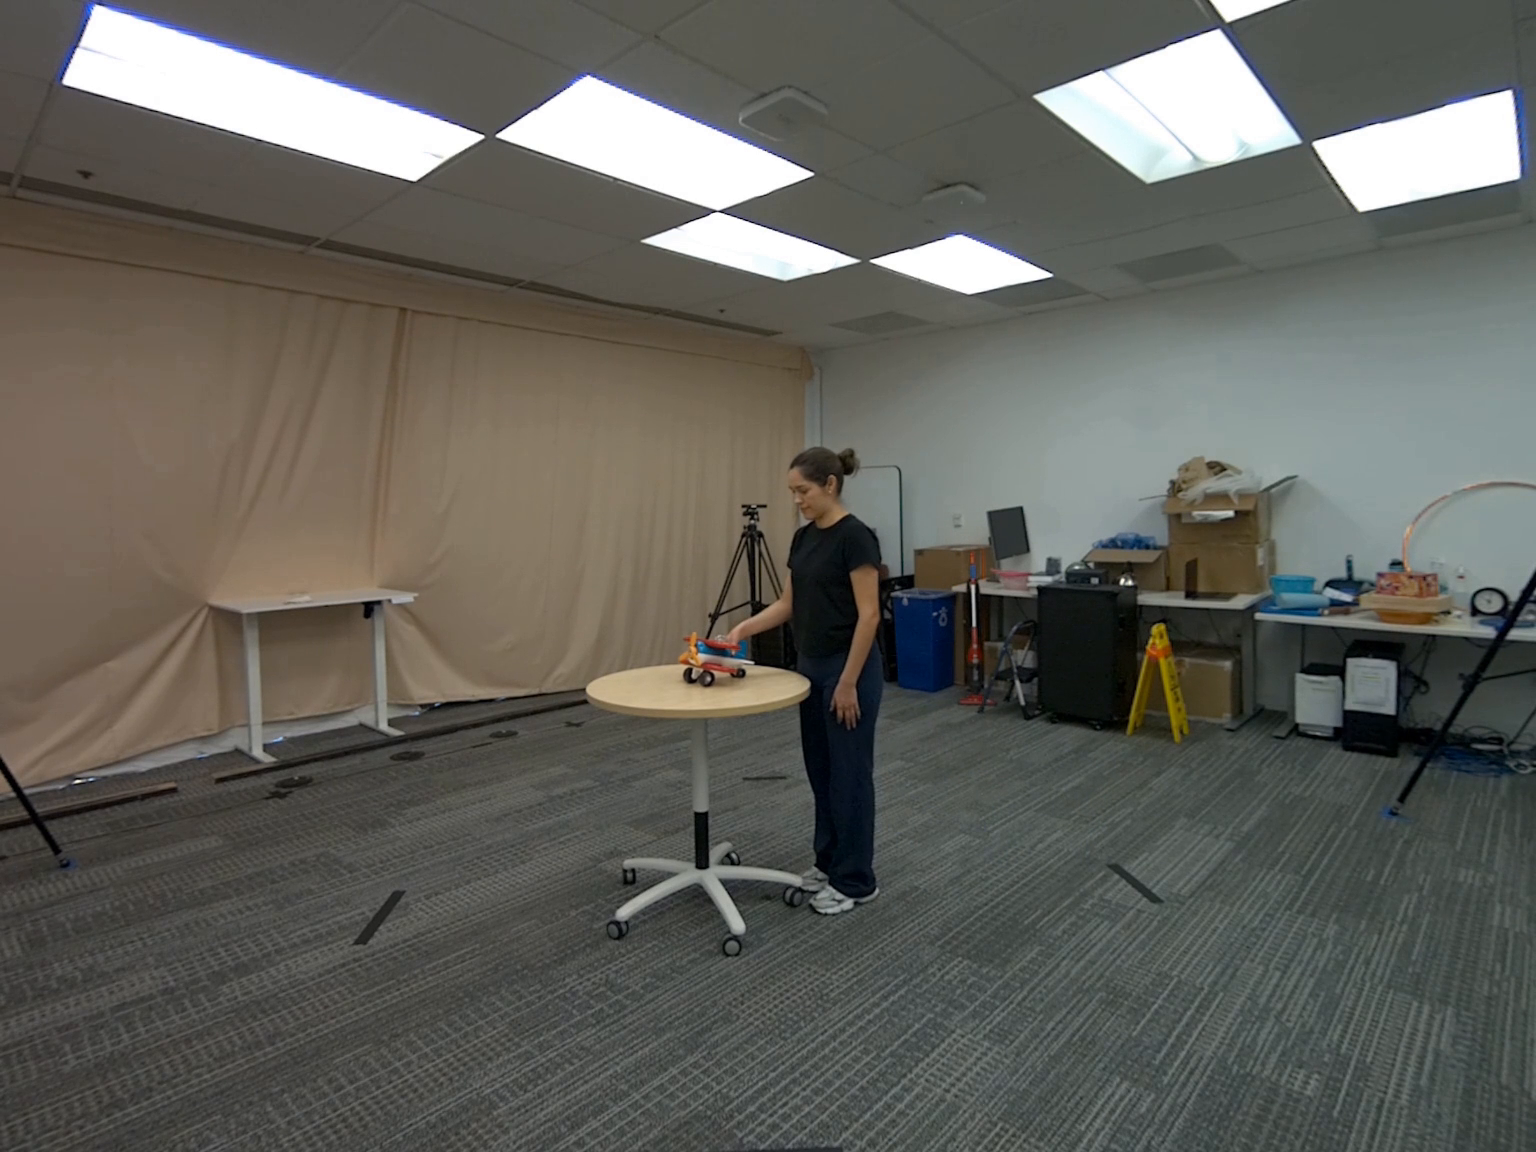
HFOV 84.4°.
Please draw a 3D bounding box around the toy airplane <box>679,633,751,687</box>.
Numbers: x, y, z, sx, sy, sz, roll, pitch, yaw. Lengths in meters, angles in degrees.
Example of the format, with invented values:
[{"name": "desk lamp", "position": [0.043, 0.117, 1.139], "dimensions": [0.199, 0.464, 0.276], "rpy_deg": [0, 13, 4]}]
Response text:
[{"name": "toy airplane", "position": [-0.169, 0.292, 2.938], "dimensions": [0.257, 0.156, 0.254], "rpy_deg": [1, 6, 21]}]
